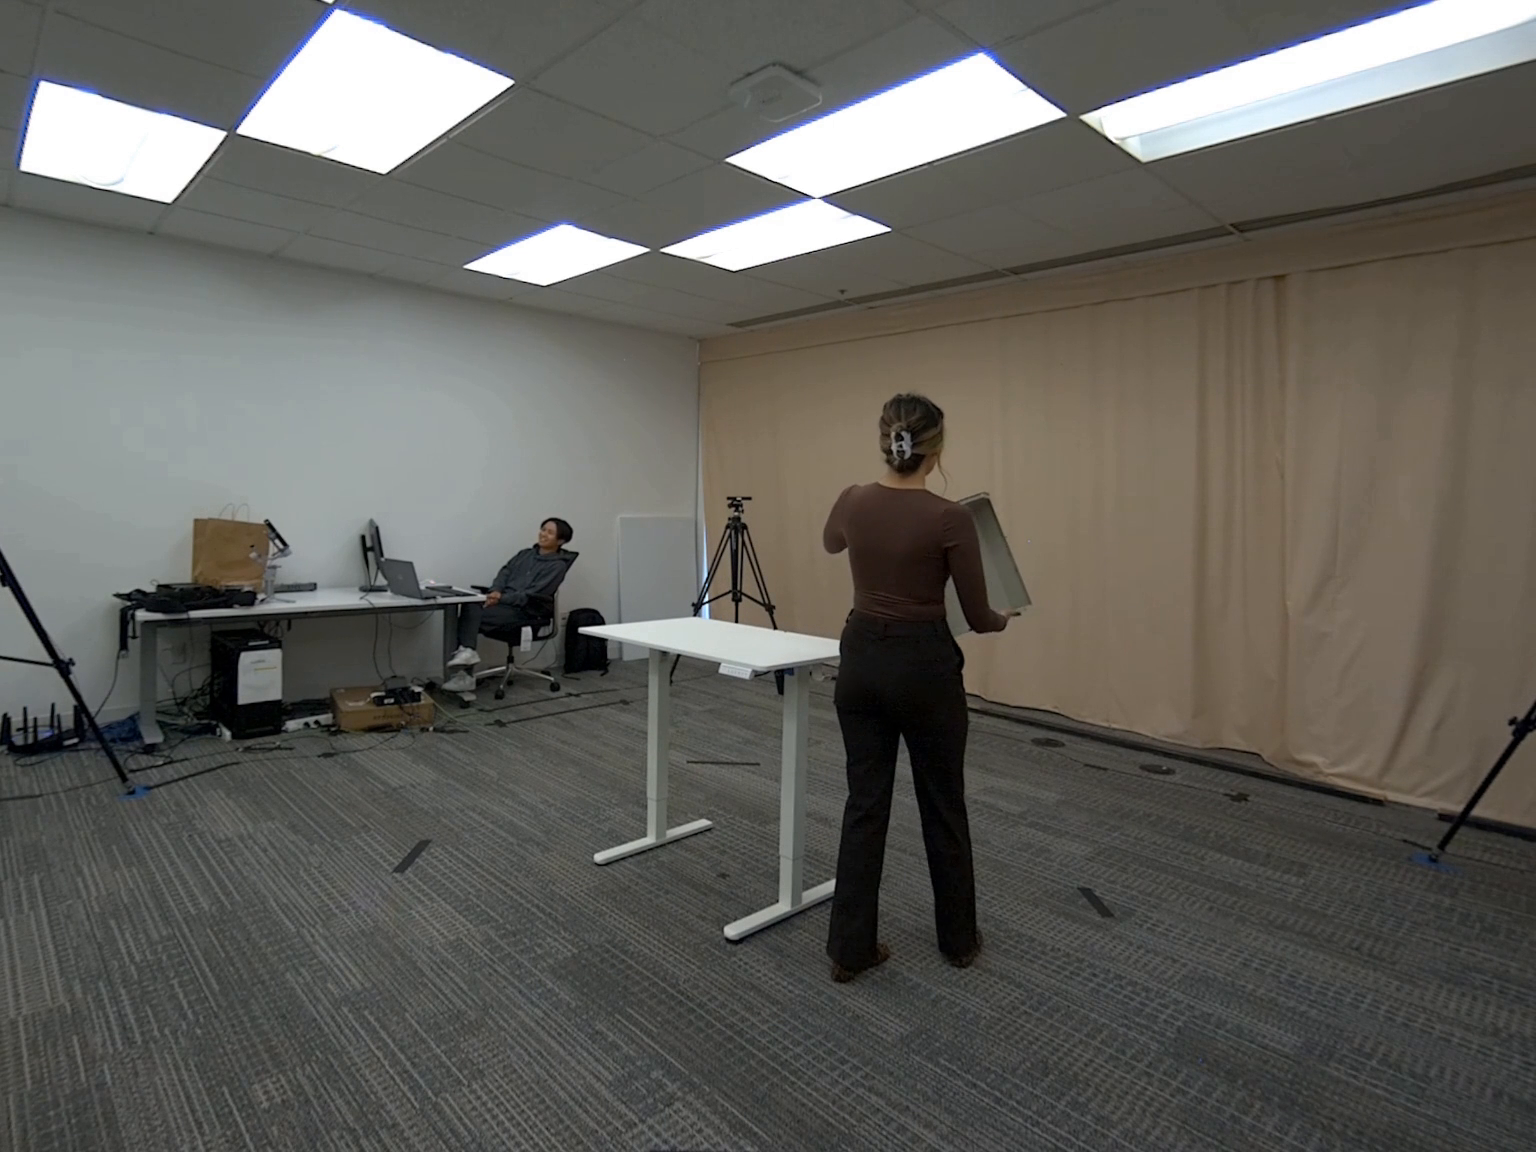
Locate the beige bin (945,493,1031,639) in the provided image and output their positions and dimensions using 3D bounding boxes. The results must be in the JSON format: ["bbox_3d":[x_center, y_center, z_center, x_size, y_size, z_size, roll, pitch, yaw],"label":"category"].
[{"bbox_3d":[0.645,-0.024,2.840,0.379,0.426,0.186,-19,-10,7],"label":"beige bin"}]
